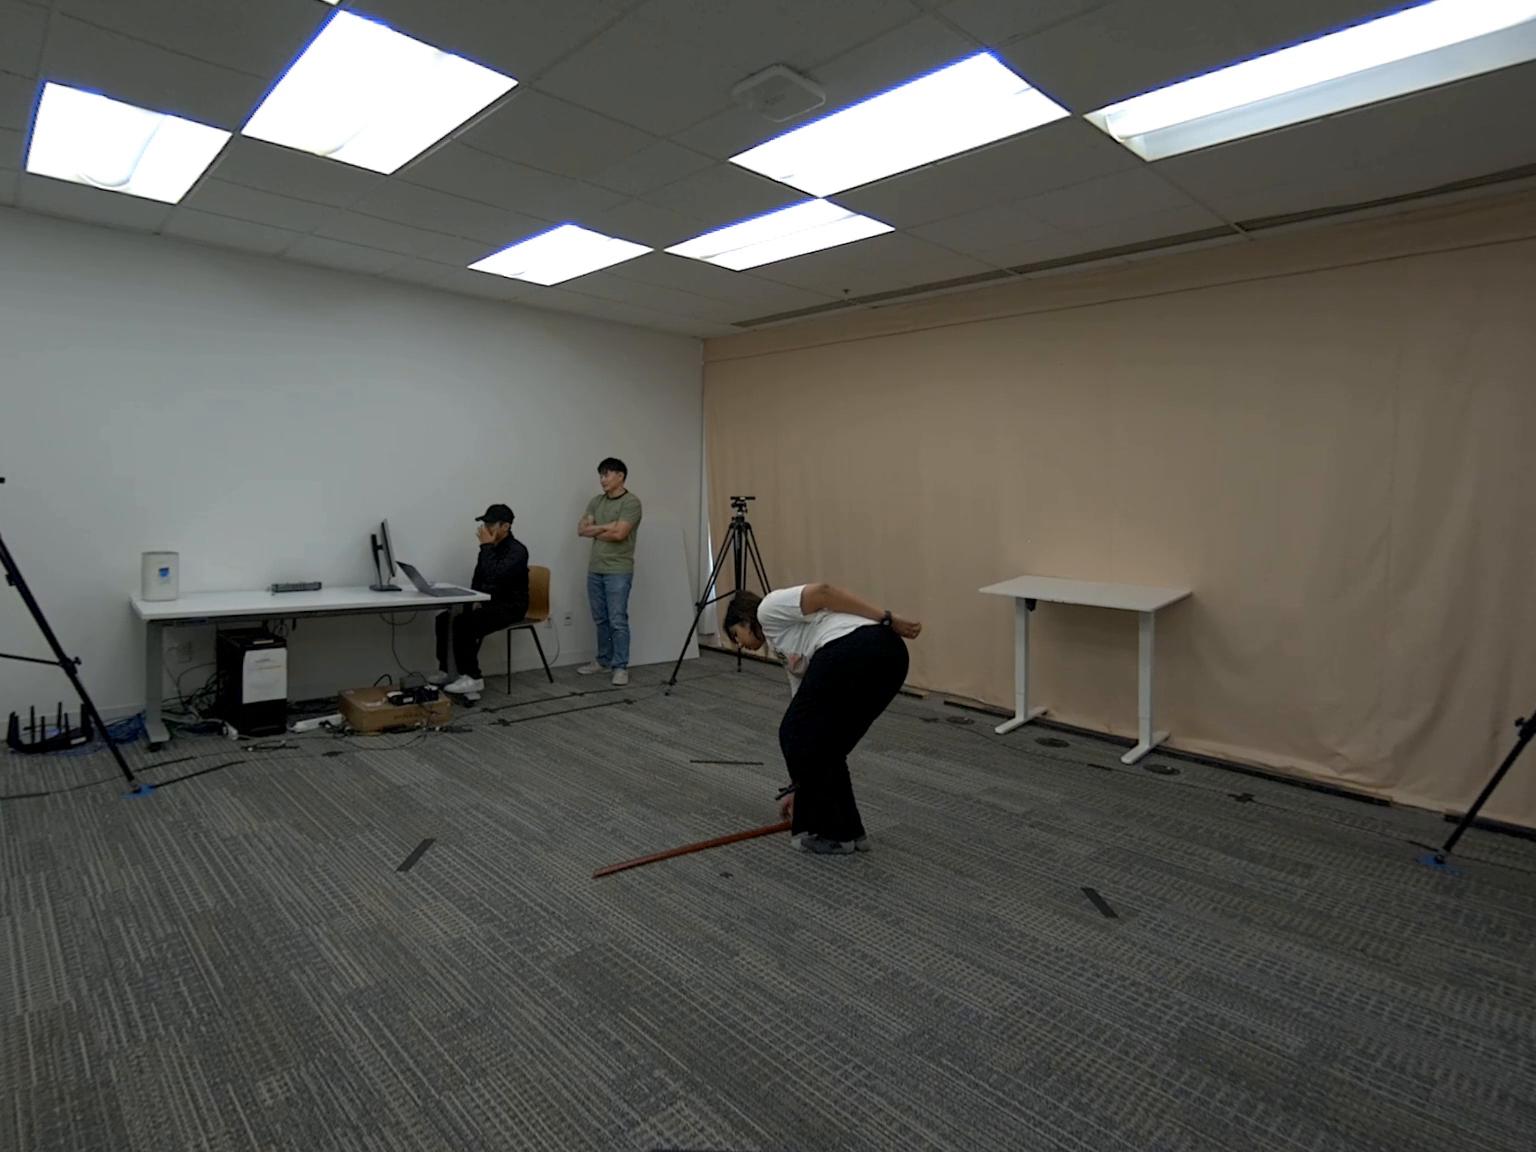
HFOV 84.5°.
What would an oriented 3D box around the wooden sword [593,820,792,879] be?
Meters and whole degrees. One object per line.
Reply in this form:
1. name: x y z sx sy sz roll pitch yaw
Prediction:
1. wooden sword: -0.234 1.059 3.342 1.003 0.024 0.052 -3 9 -35
